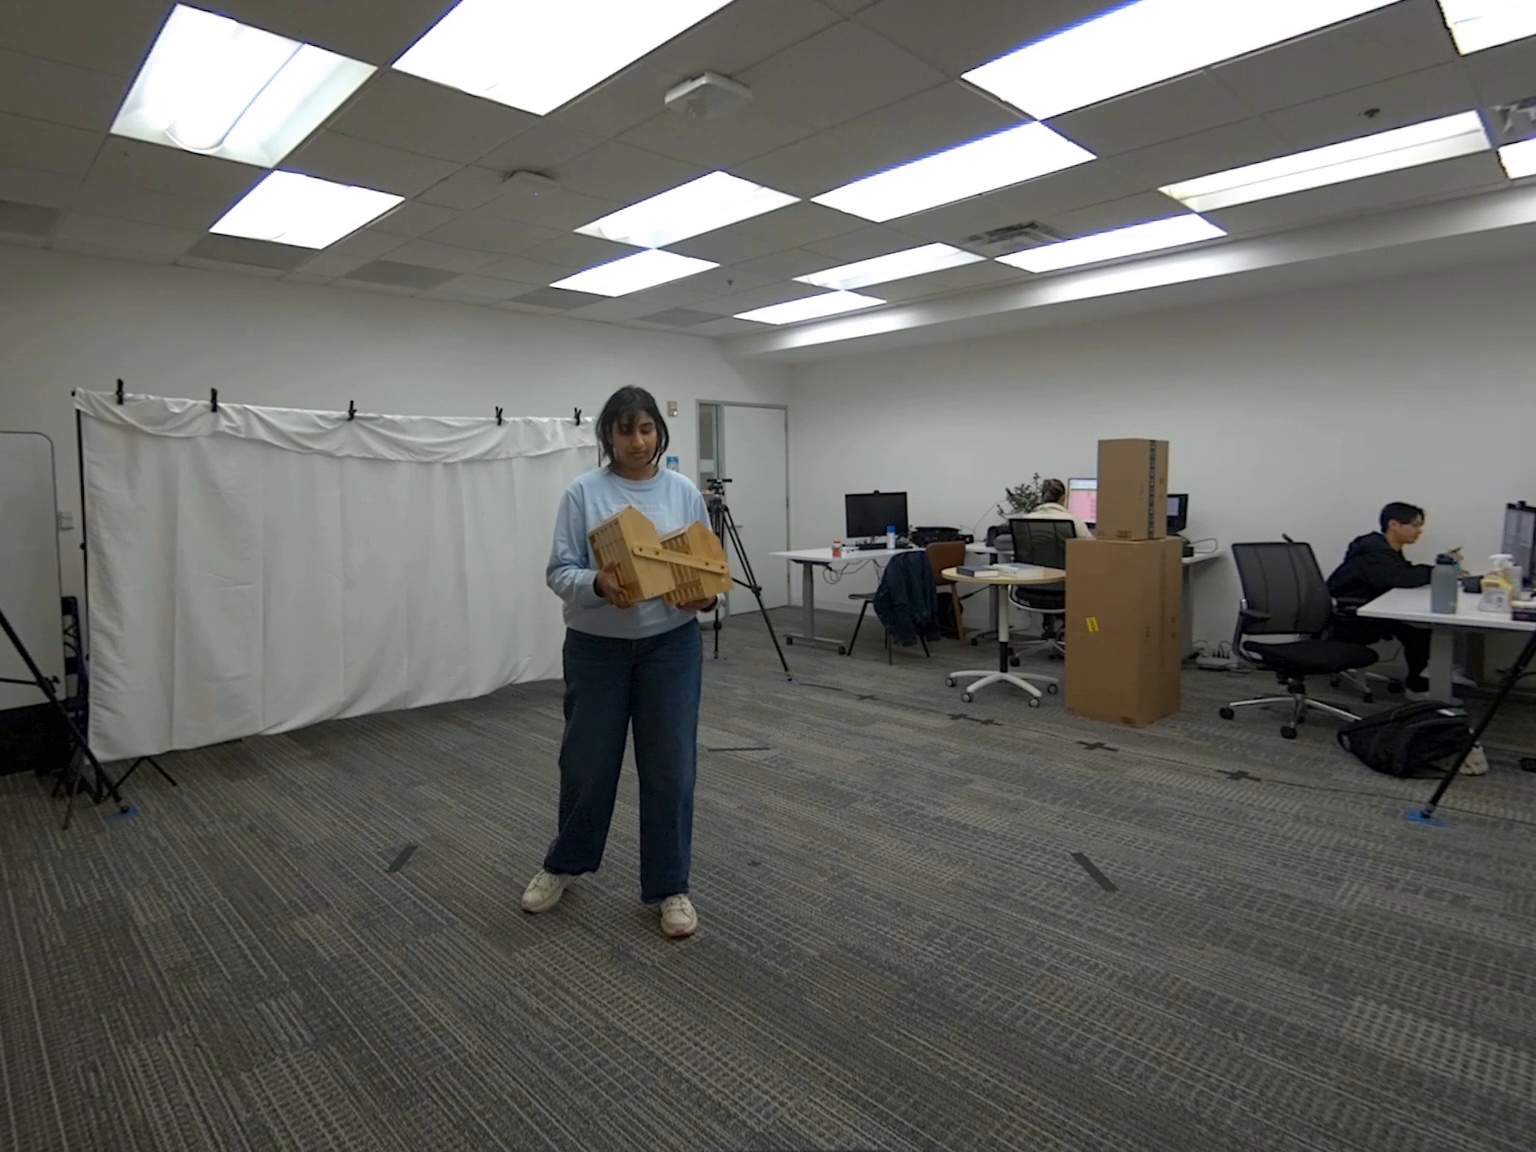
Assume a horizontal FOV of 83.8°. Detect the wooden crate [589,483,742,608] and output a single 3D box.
[{"bbox_3d":[-0.310,-0.054,2.434,0.269,0.302,0.329,-19,1,-27],"label":"wooden crate"}]
